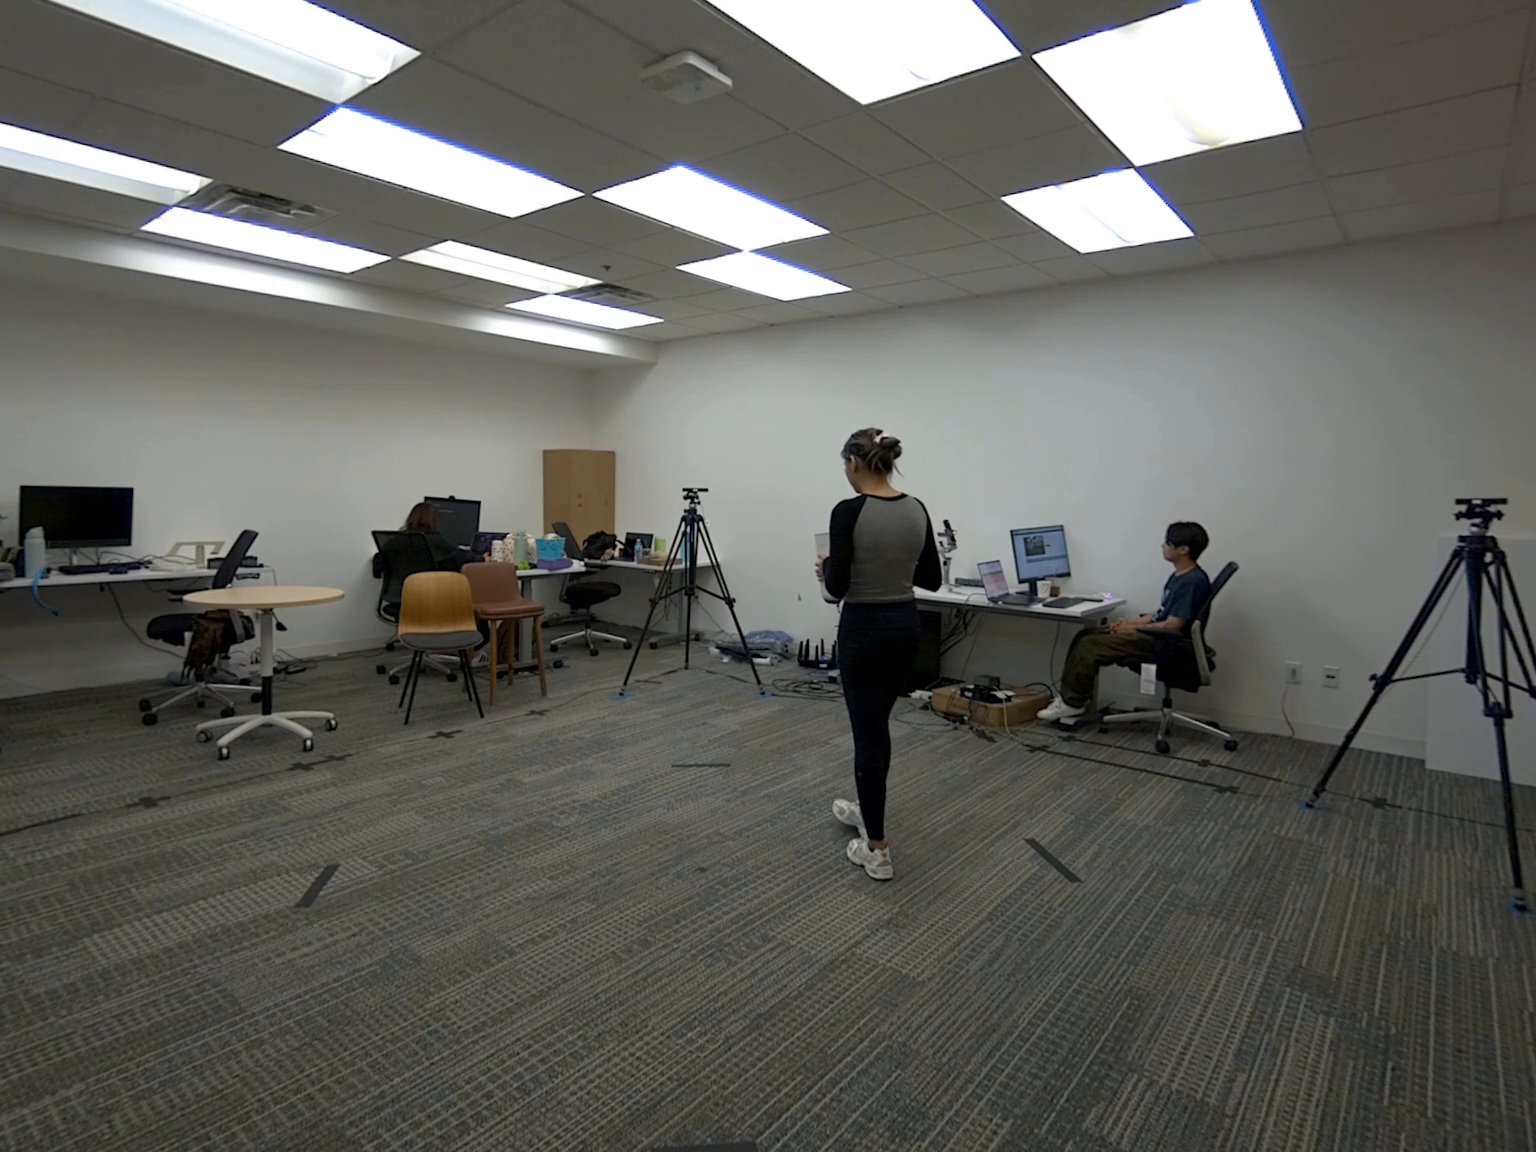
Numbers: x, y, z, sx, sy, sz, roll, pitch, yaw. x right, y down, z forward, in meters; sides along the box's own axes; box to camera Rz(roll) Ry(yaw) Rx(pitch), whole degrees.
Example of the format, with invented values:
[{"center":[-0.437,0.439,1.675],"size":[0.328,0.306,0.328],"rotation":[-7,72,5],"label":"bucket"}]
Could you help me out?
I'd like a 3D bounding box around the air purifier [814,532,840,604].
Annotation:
[{"center":[0.296,-0.049,3.339],"size":[0.168,0.265,0.175],"rotation":[-7,1,-25],"label":"air purifier"}]
